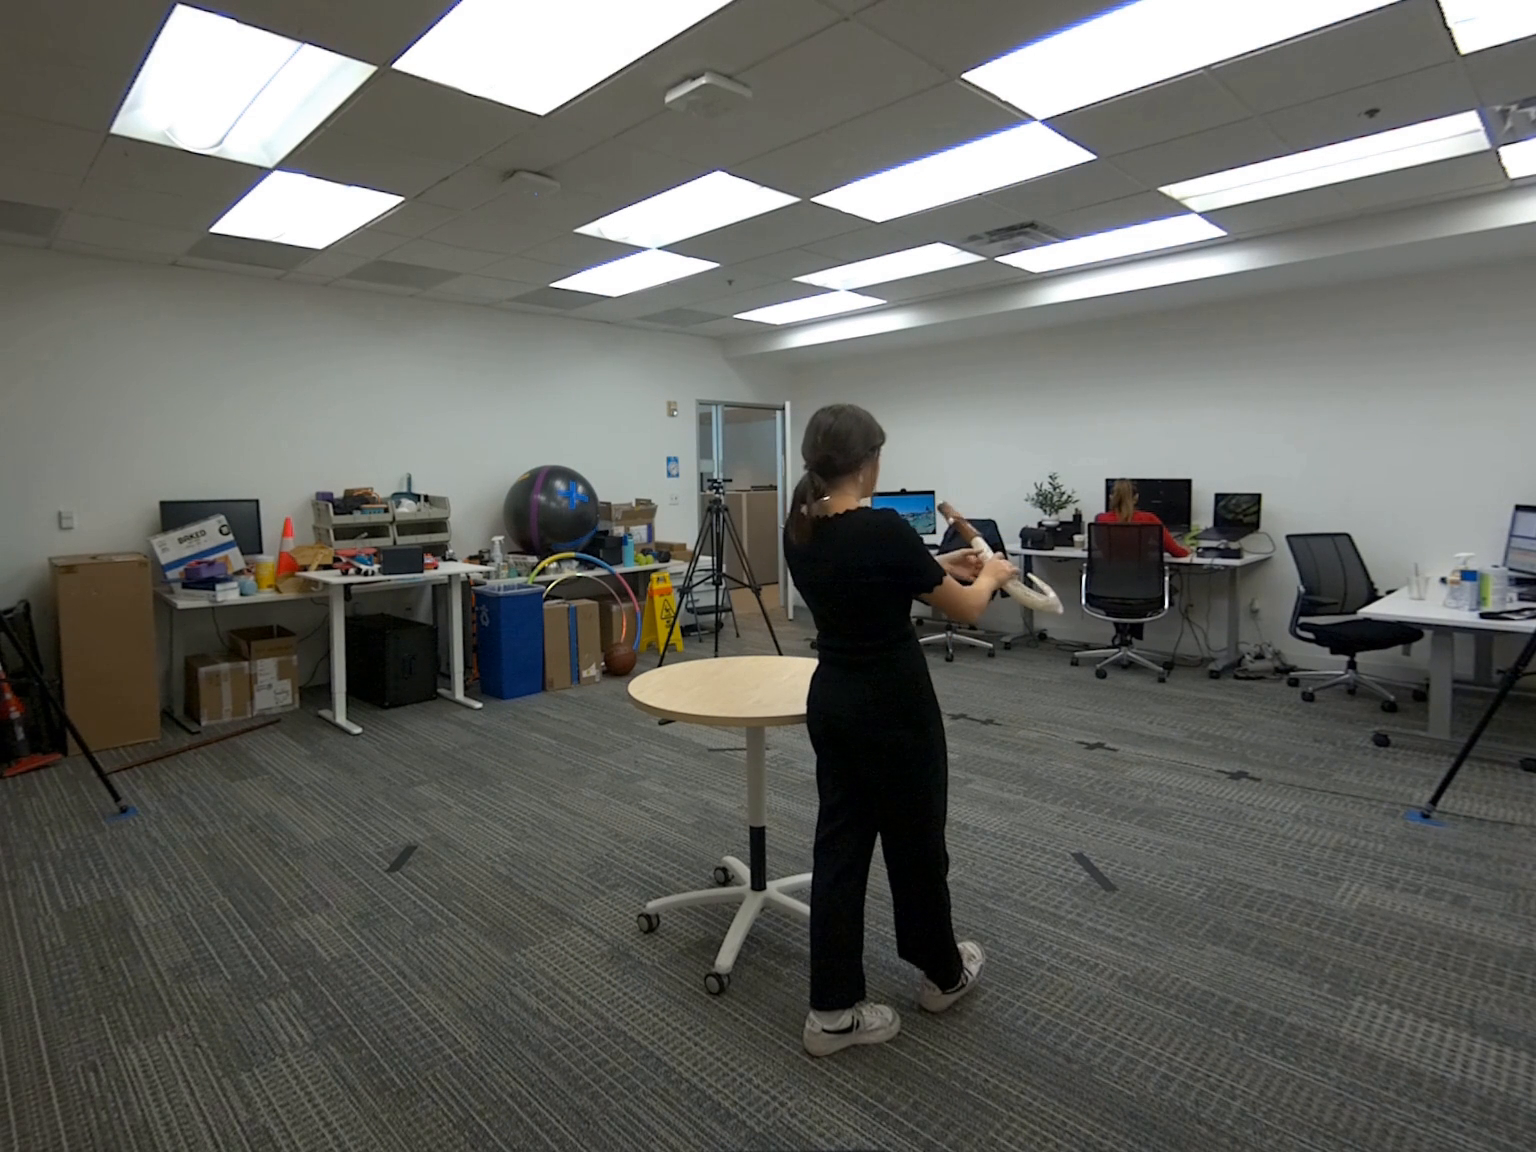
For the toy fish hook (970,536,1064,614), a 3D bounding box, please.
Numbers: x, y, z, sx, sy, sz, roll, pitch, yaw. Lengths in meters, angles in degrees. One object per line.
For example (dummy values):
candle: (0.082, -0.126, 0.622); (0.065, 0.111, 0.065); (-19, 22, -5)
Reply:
toy fish hook: (0.648, -0.049, 2.429); (0.217, 0.048, 0.525); (20, 28, -31)
